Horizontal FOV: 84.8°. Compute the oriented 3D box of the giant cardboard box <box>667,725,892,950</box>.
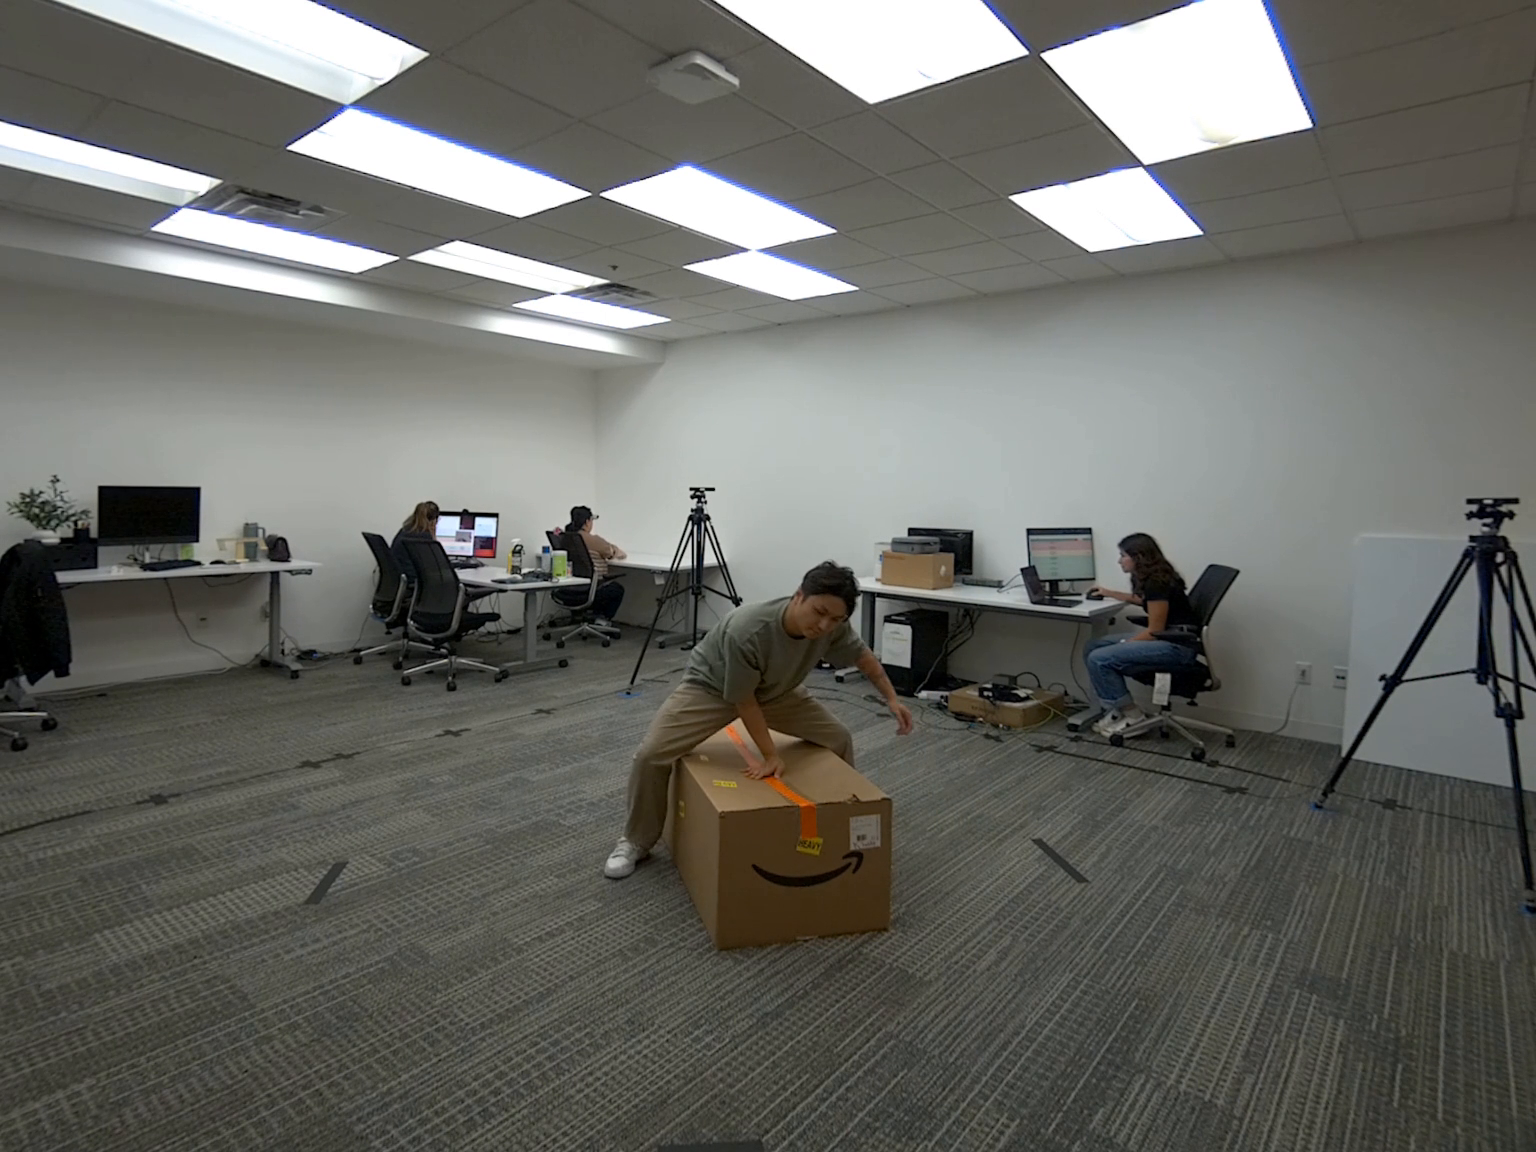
[{"bbox_3d":[-0.044,0.863,3.103,0.568,0.424,1.047,-1,6,-17],"label":"giant cardboard box"}]
